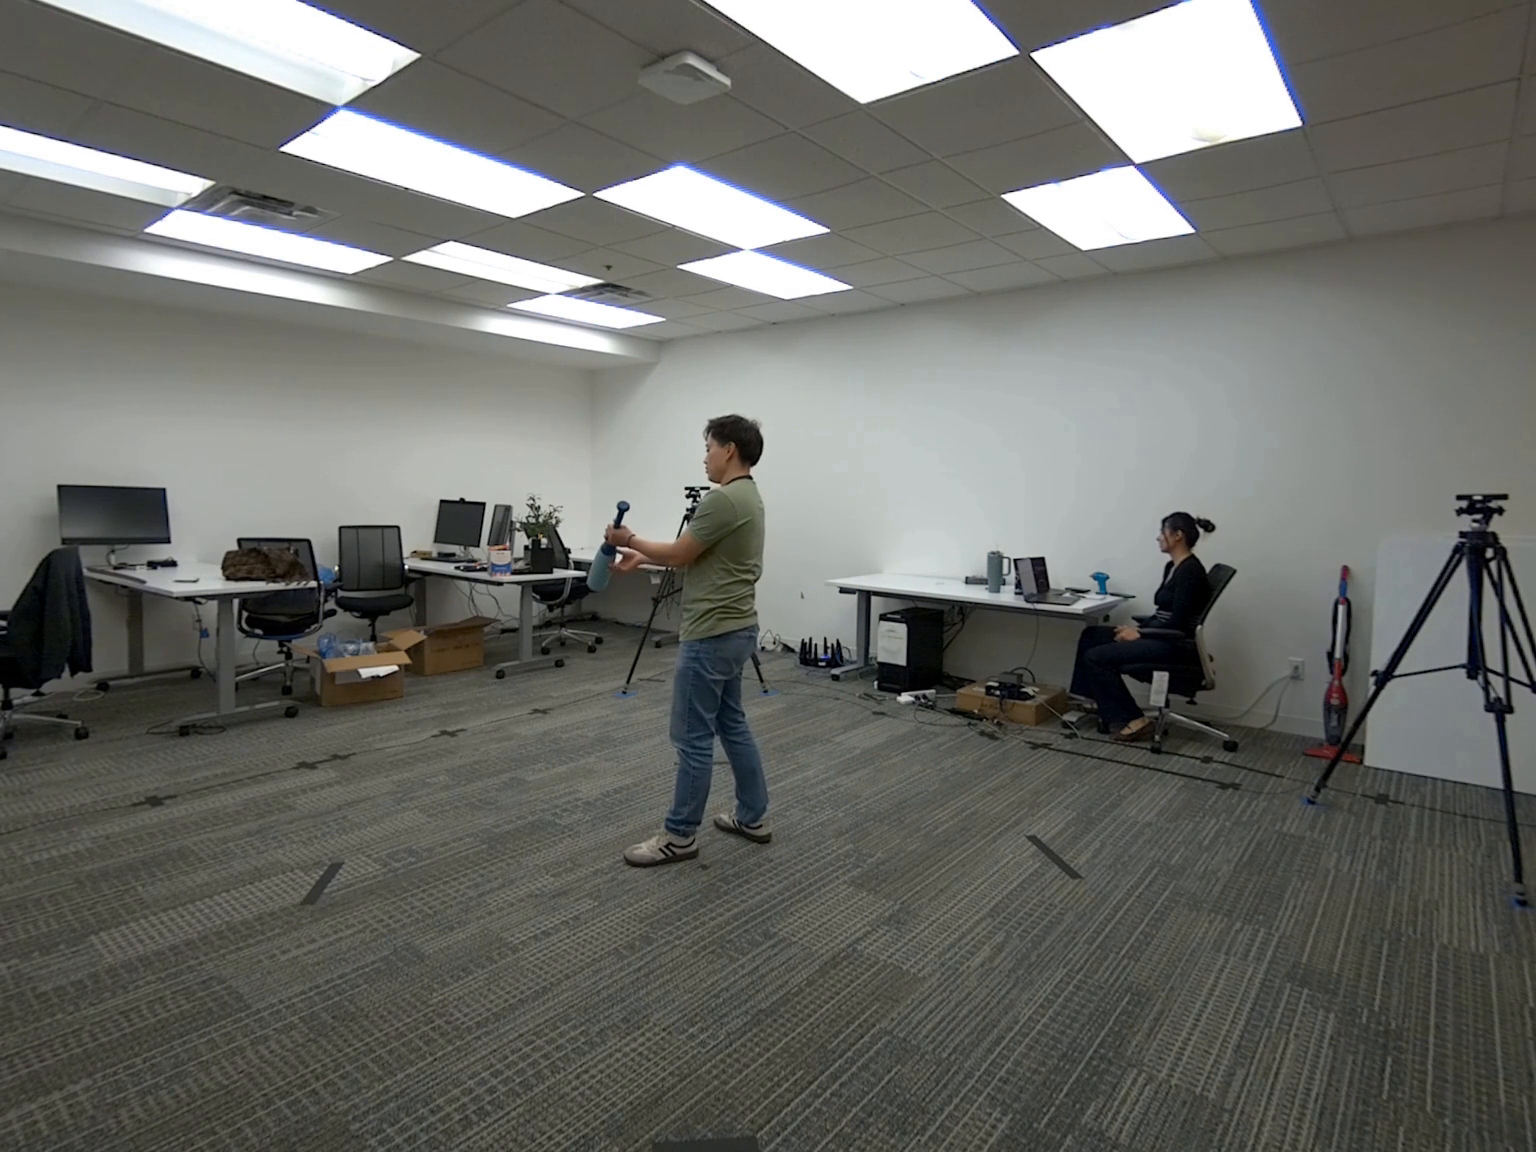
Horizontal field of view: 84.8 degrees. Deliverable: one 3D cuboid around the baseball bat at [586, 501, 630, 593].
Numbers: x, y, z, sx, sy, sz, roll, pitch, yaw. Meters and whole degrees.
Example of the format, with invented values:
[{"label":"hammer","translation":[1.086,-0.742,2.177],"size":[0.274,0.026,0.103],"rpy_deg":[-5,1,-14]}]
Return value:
[{"label":"baseball bat","translation":[-0.653,-0.117,3.420],"size":[0.087,0.092,0.537],"rpy_deg":[0,-34,-25]}]
